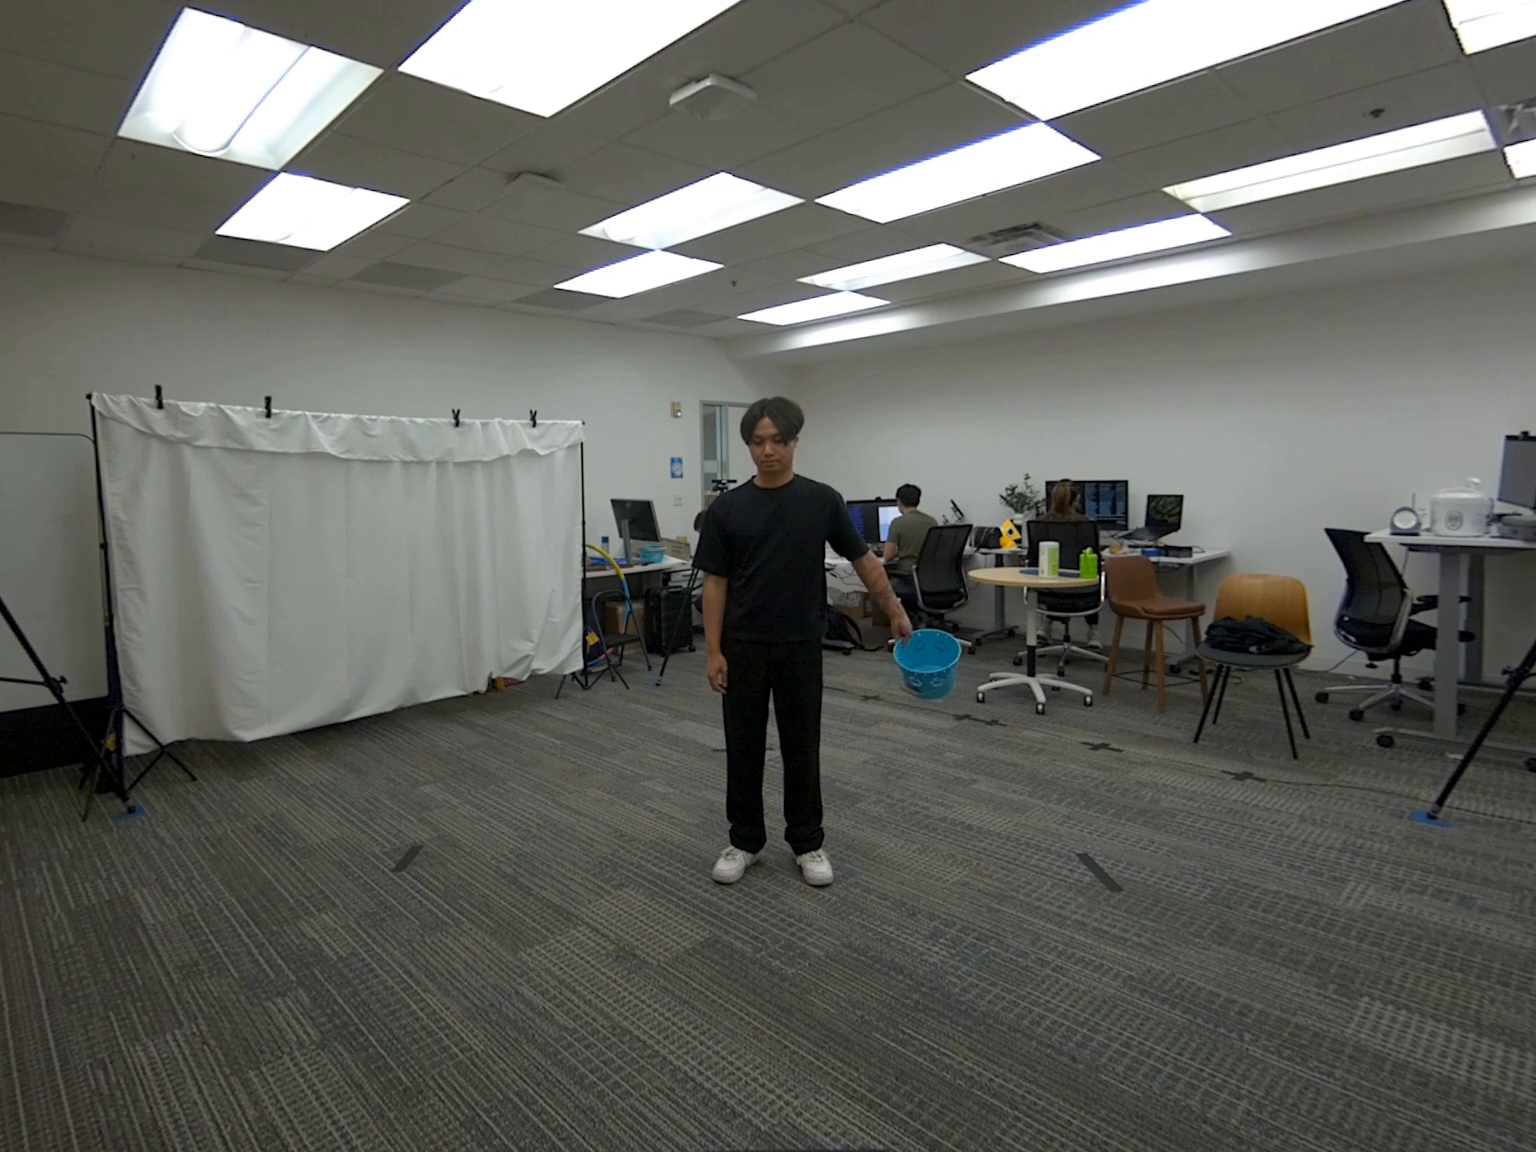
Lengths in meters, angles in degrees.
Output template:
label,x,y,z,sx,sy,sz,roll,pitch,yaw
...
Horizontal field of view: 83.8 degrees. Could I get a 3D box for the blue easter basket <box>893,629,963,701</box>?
label,x,y,z,sx,sy,sz,roll,pitch,yaw
blue easter basket,0.560,0.323,3.040,0.244,0.151,0.250,-9,33,4
